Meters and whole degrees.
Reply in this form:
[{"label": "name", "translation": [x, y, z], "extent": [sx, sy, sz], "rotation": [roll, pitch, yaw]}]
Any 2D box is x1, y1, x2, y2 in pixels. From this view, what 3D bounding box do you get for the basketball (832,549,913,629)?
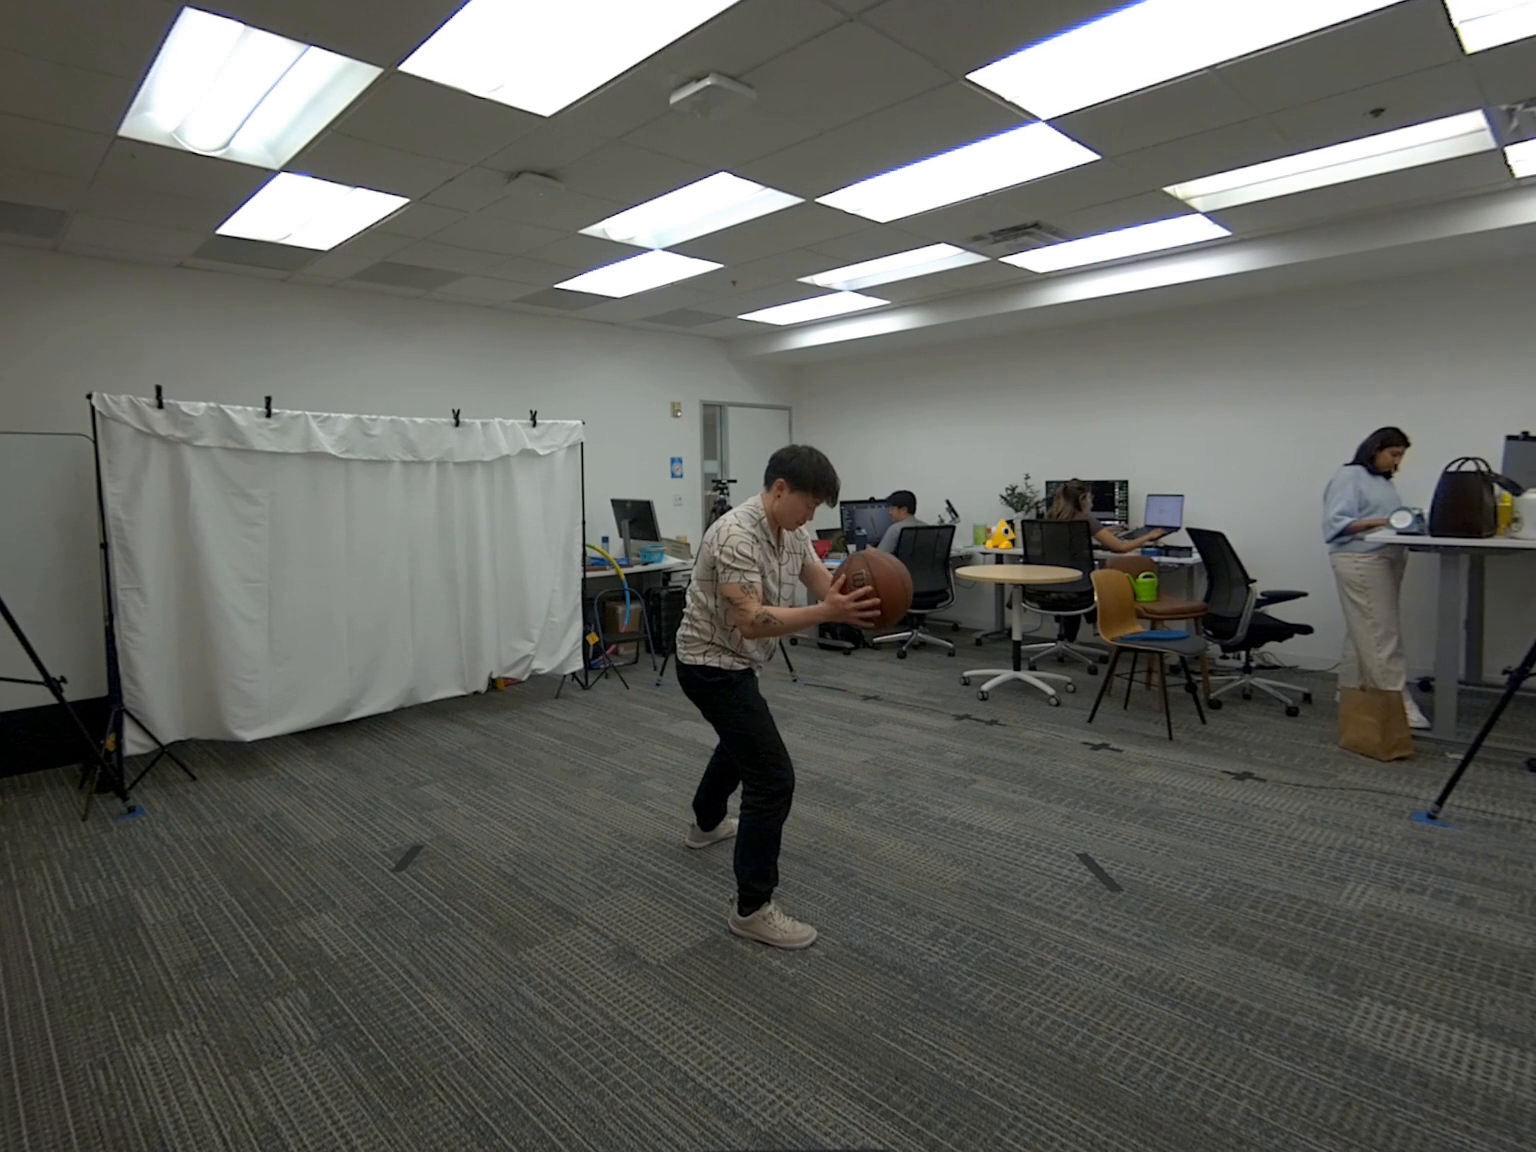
[{"label": "basketball", "translation": [0.301, 0.047, 2.509], "extent": [0.236, 0.235, 0.237], "rotation": [-1, 5, -2]}]
